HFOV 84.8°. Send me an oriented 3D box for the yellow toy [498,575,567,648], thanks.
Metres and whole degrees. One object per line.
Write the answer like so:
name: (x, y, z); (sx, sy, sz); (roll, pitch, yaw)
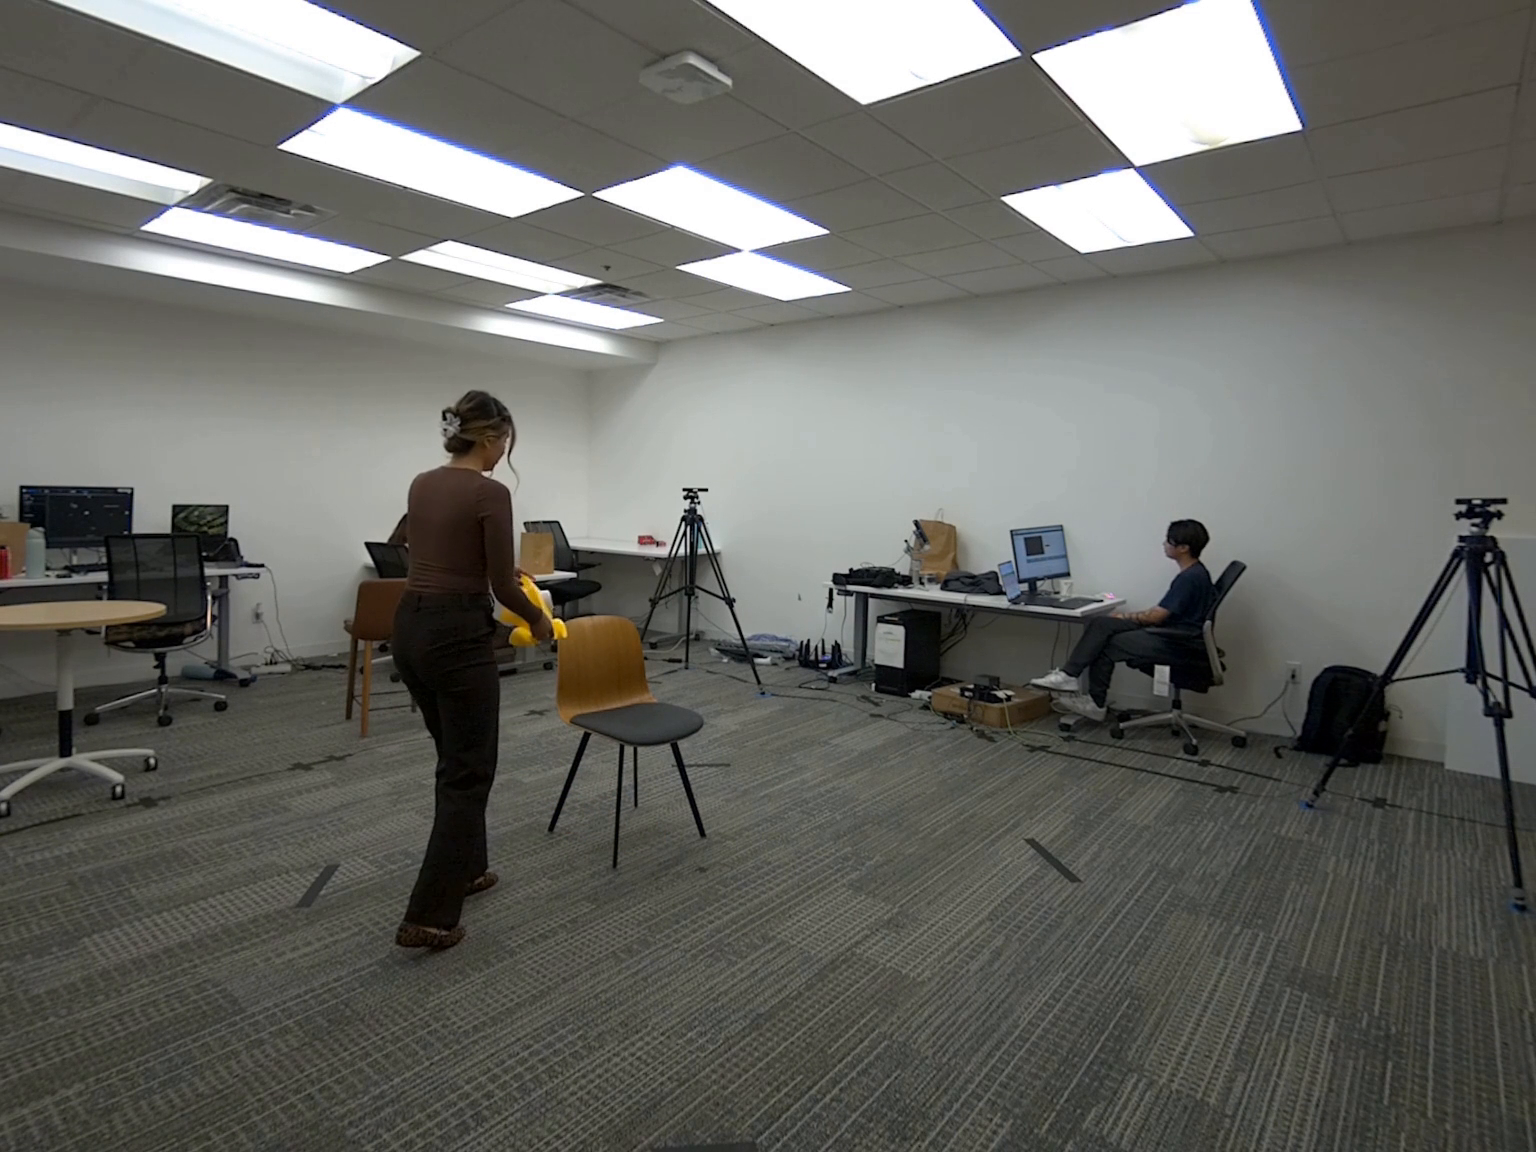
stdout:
yellow toy: (-0.852, 0.116, 3.067); (0.199, 0.229, 0.199); (-11, 11, -41)
